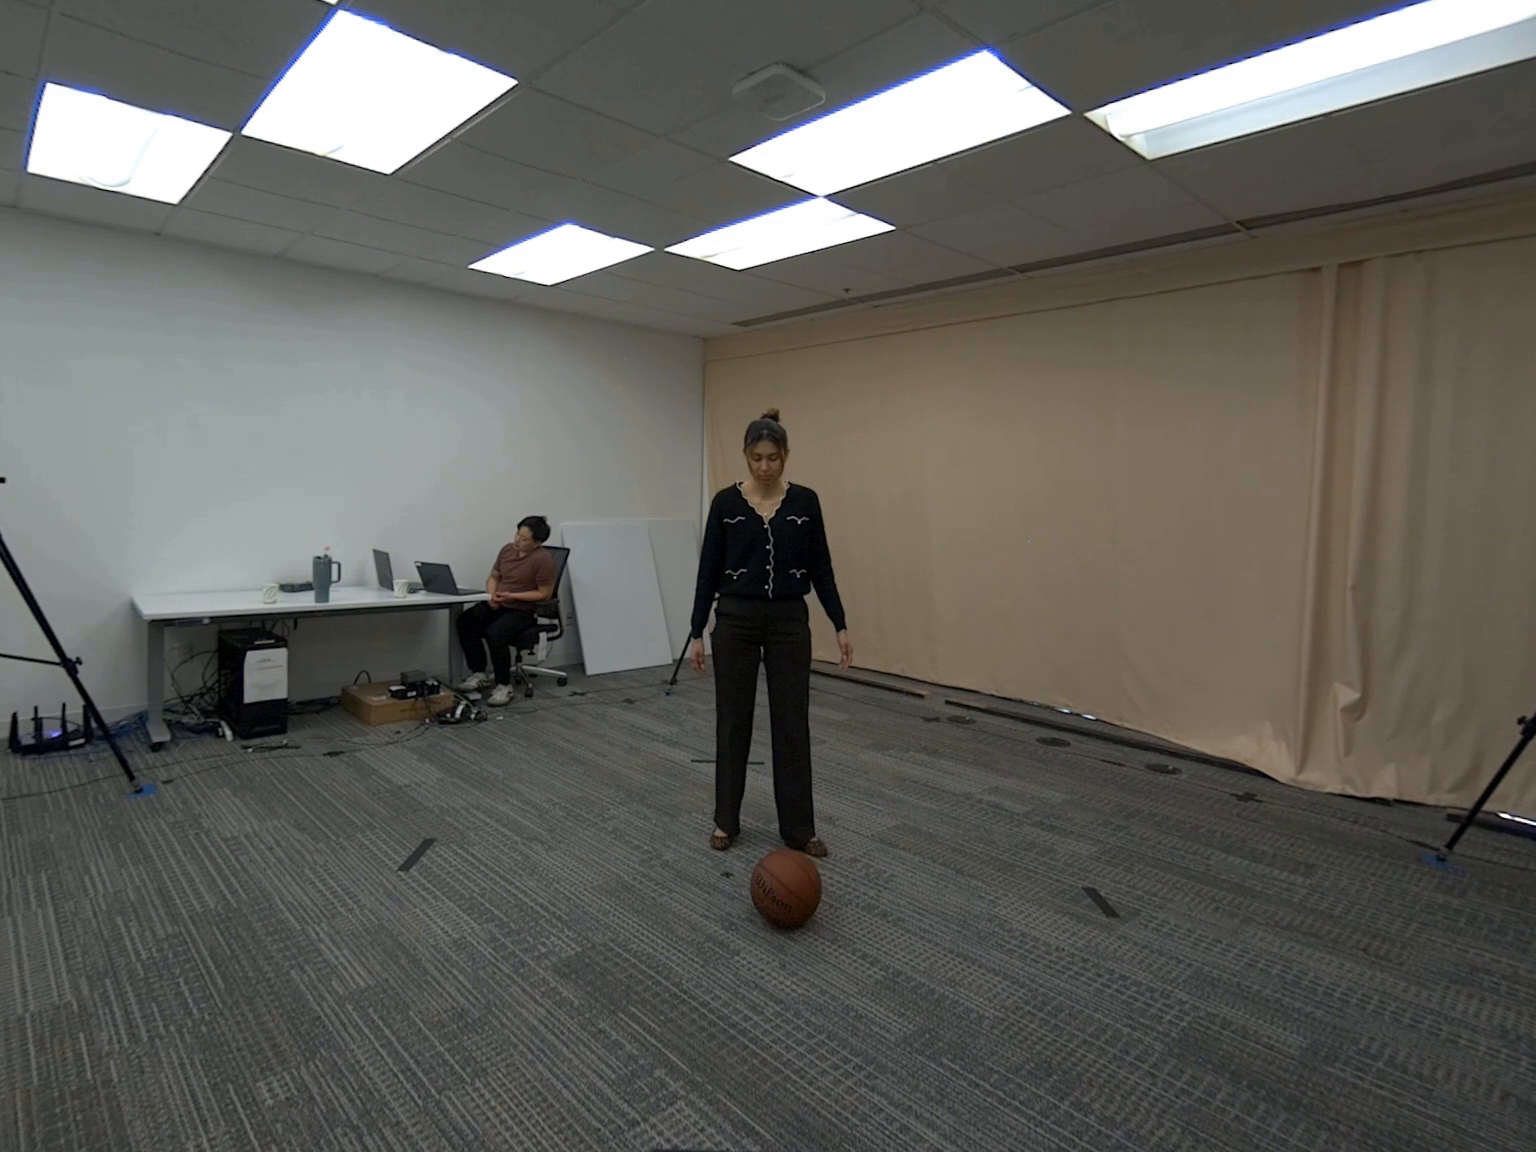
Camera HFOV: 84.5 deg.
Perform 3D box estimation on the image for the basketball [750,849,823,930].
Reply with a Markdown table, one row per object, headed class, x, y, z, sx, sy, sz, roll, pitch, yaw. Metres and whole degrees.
| class | x | y | z | sx | sy | sz | roll | pitch | yaw |
| --- | --- | --- | --- | --- | --- | --- | --- | --- | --- |
| basketball | 0.048 | 1.022 | 2.753 | 0.236 | 0.235 | 0.237 | 1 | 4 | -1 |
